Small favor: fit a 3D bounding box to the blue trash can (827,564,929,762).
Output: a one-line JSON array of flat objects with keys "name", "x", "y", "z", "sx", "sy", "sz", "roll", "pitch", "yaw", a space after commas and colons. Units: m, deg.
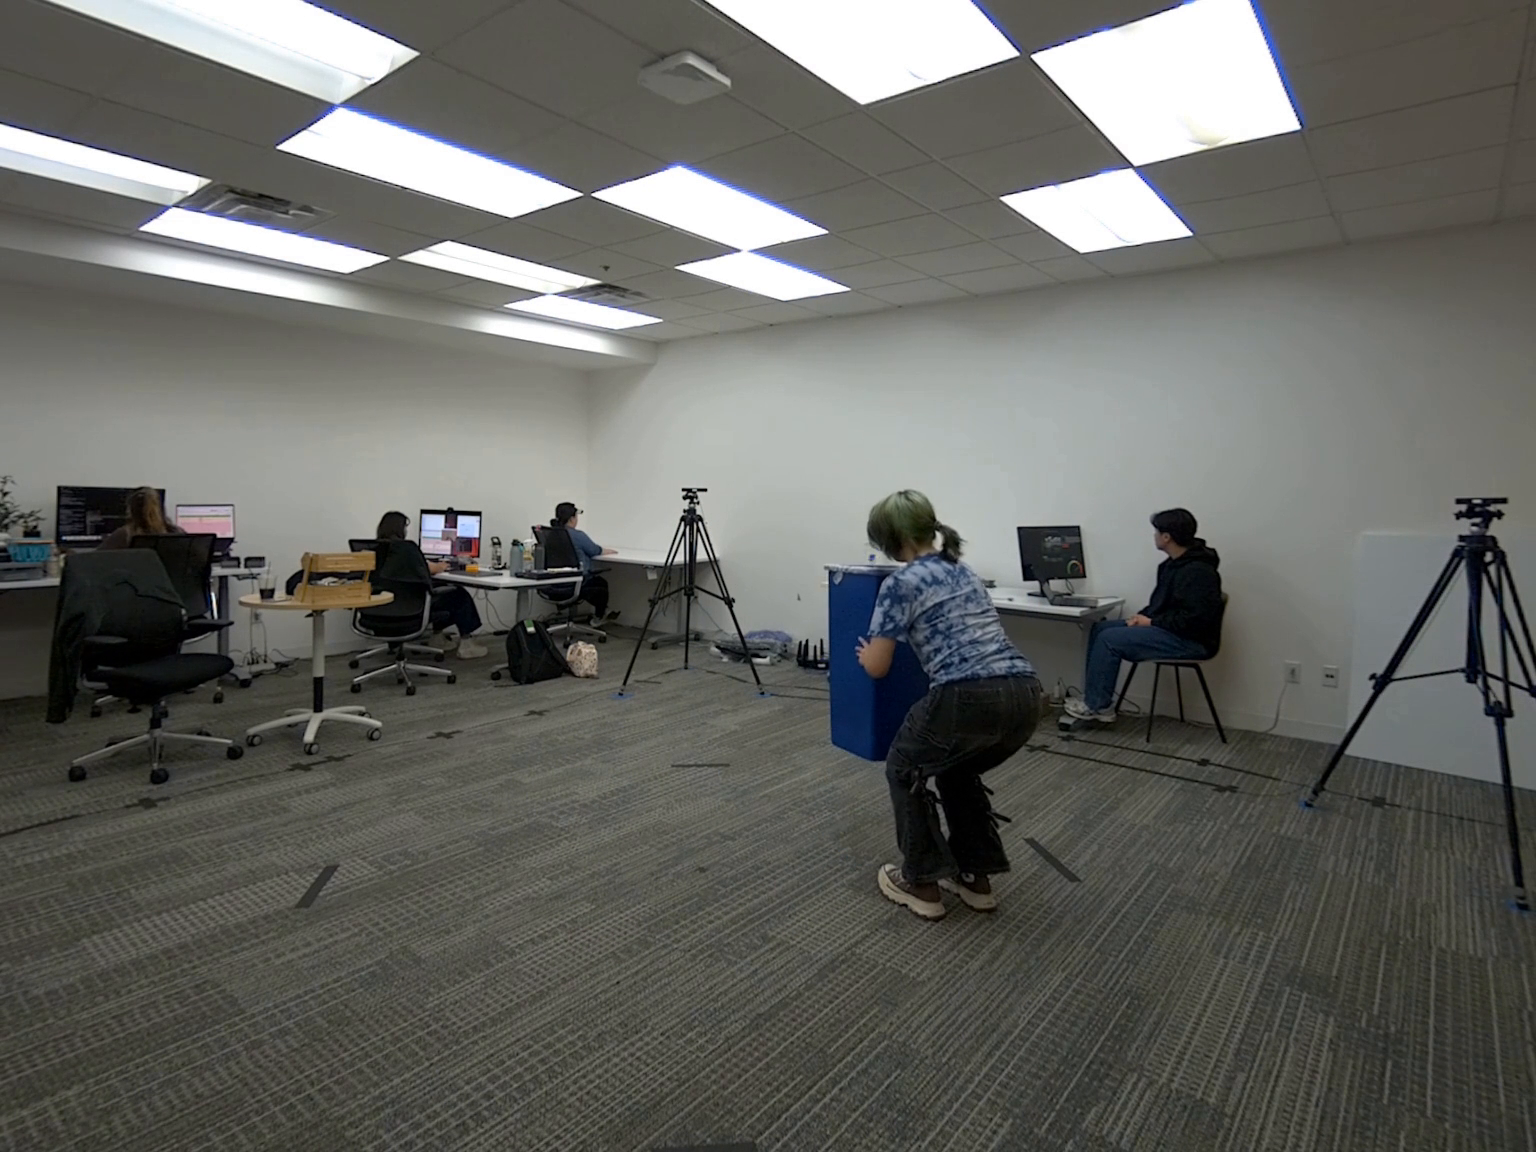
[{"name": "blue trash can", "x": 0.451, "y": 0.316, "z": 3.324, "sx": 0.365, "sy": 0.713, "sz": 0.387, "roll": 0, "pitch": 1, "yaw": -25}]
